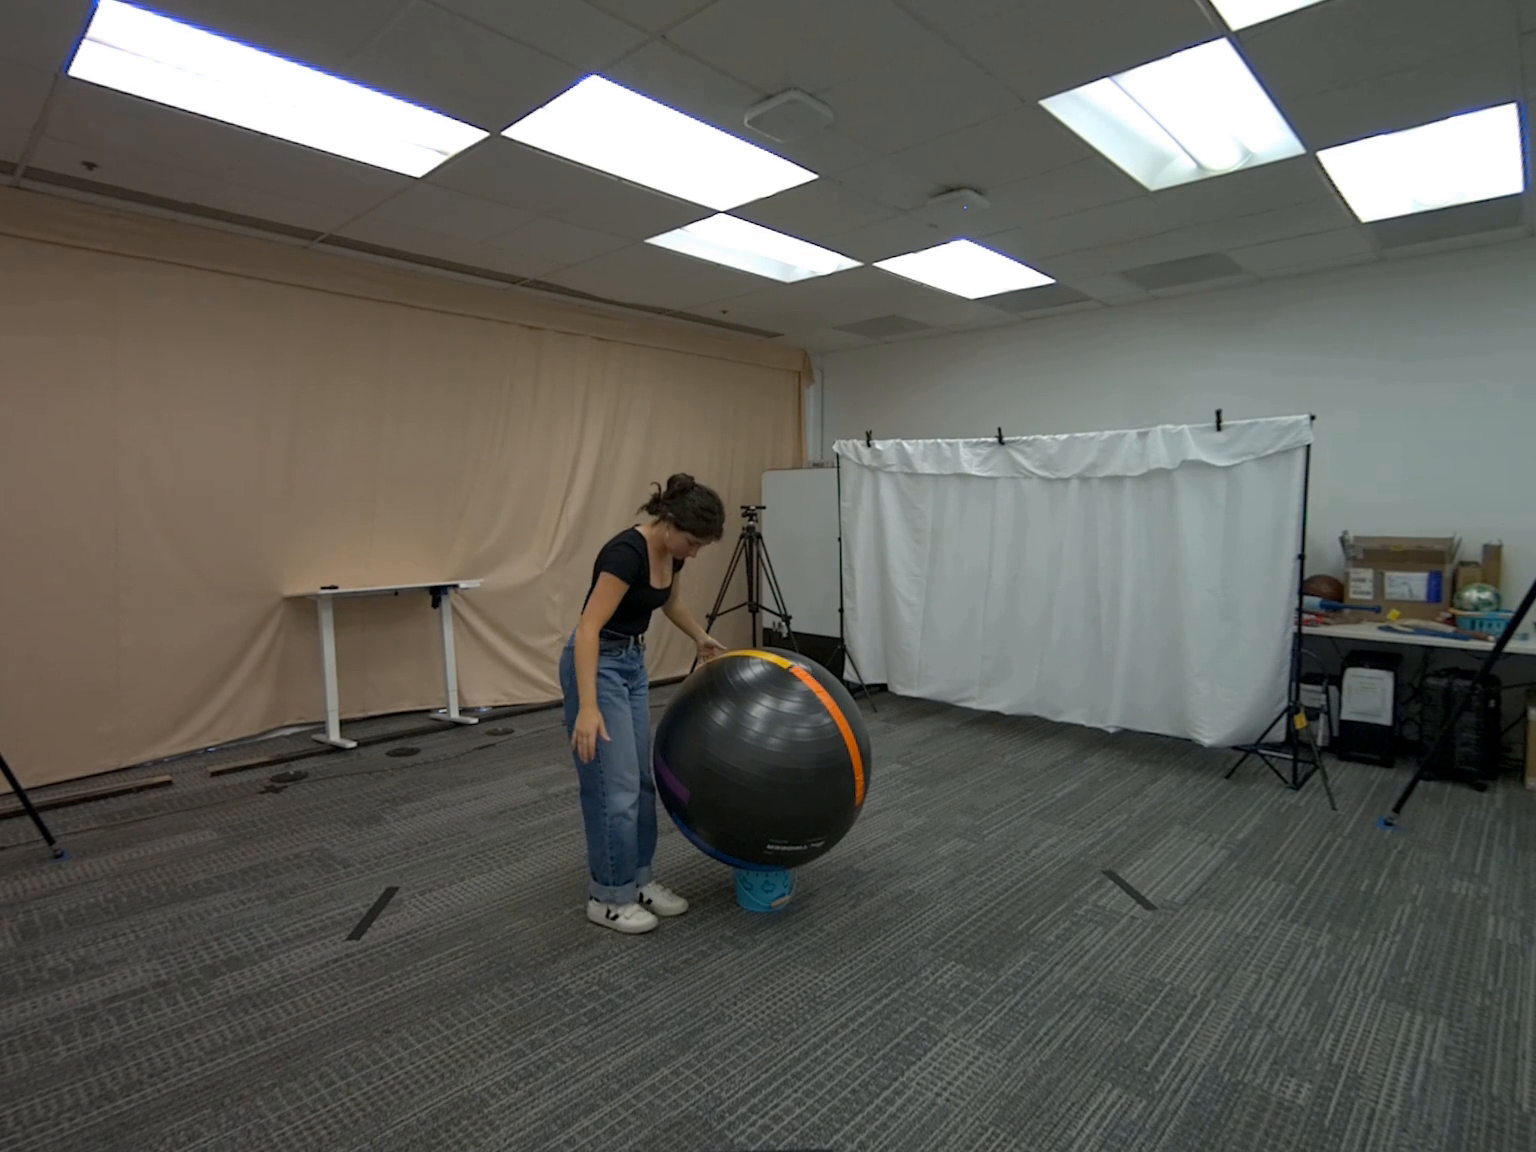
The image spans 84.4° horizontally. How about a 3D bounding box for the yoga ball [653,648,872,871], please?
[{"bbox_3d":[-0.010,0.638,2.954,0.757,0.756,0.760,0,4,-2],"label":"yoga ball"}]
